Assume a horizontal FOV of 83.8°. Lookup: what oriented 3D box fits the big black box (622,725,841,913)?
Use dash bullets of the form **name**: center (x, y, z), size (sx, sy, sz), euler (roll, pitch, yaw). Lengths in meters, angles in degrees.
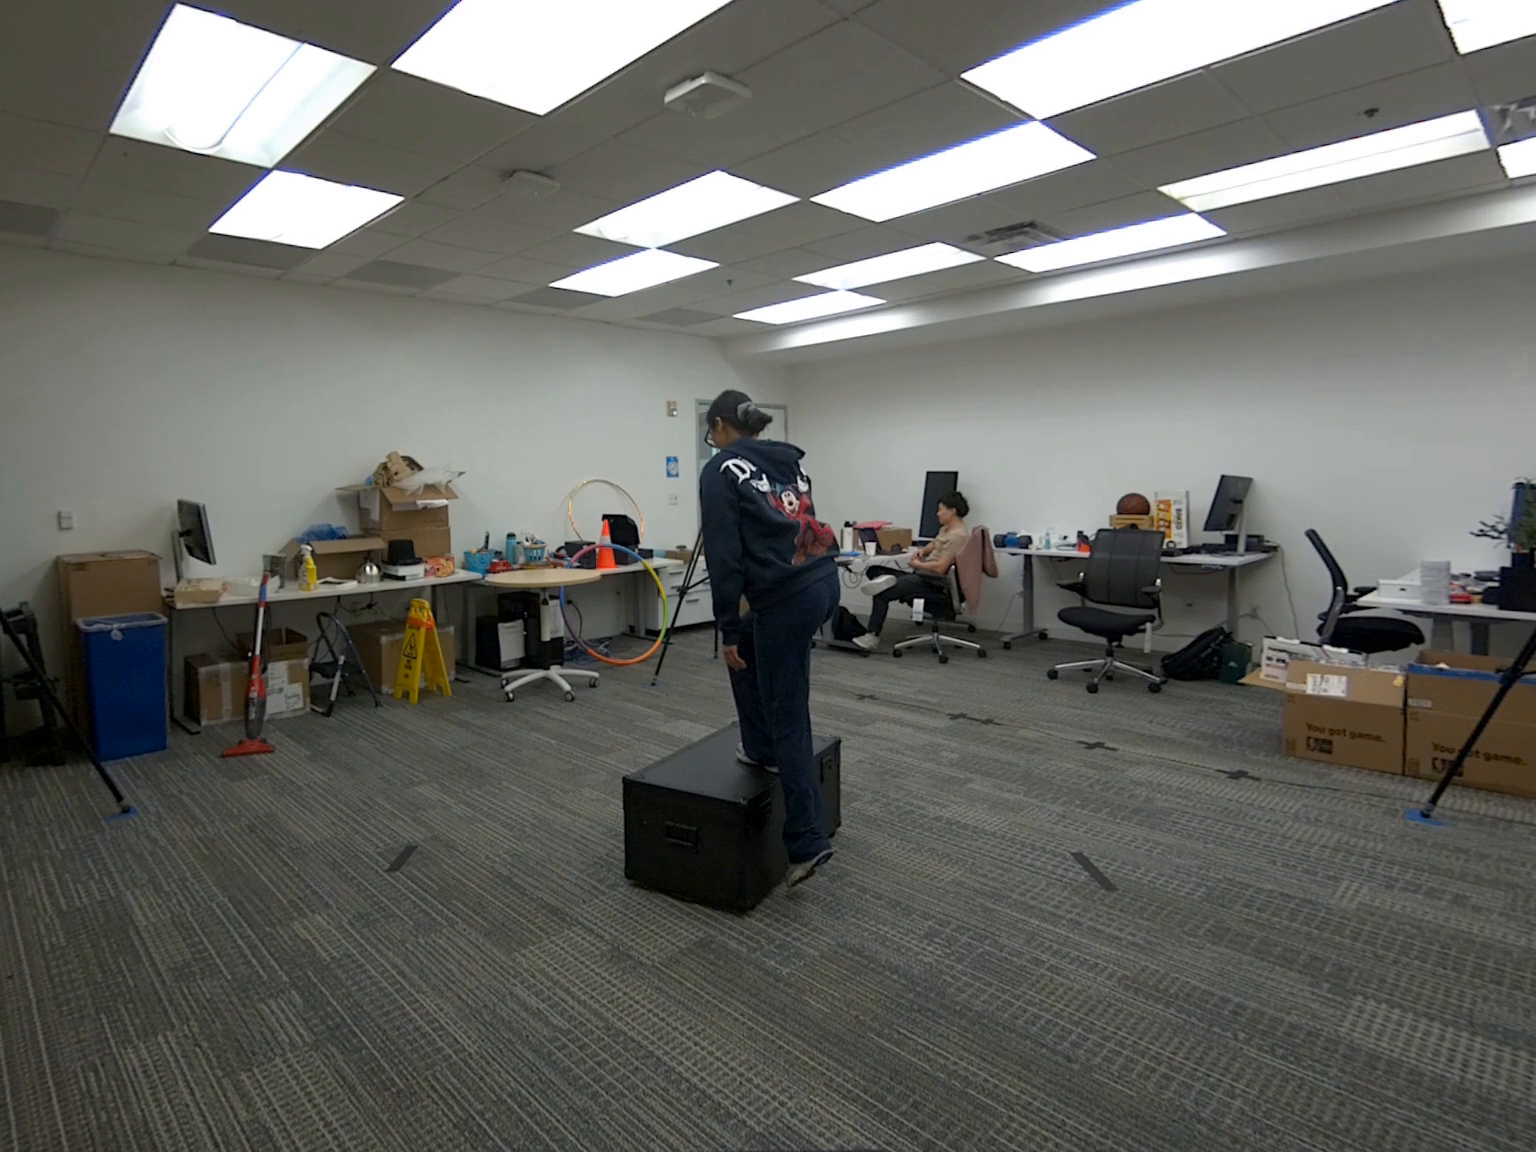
- **big black box**: center (-0.086, 0.846, 3.182), size (0.535, 0.394, 0.844), euler (2, 7, 29)
